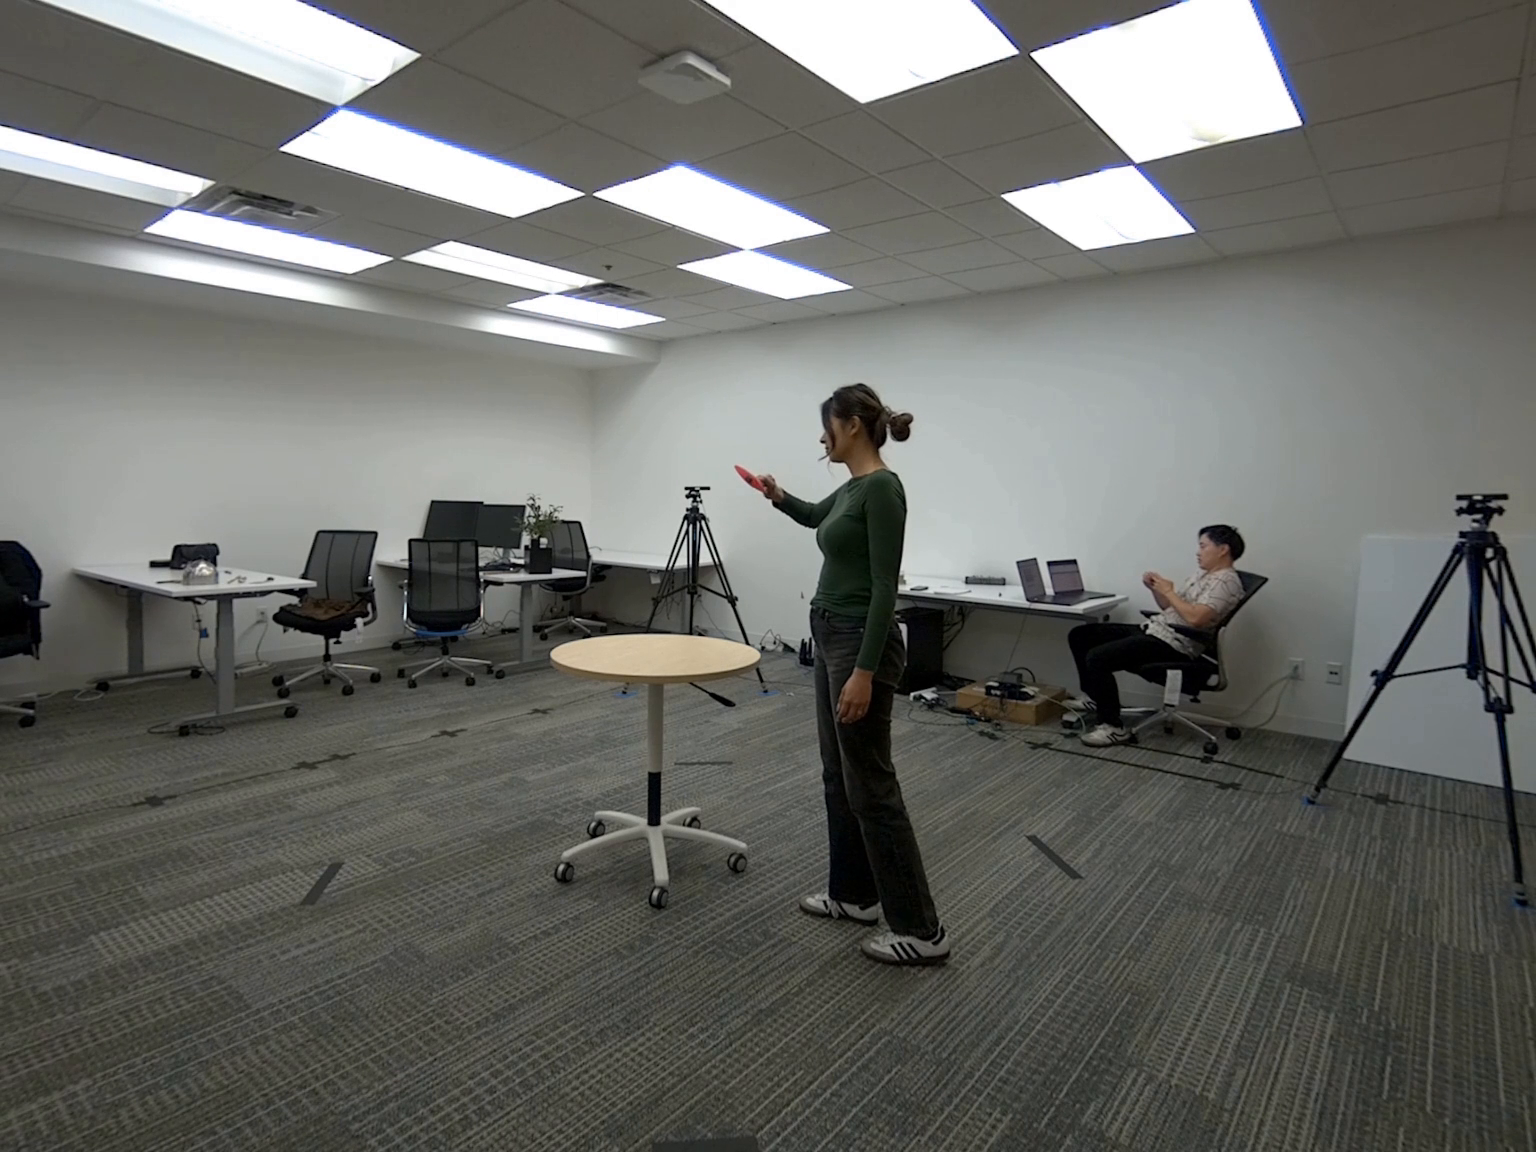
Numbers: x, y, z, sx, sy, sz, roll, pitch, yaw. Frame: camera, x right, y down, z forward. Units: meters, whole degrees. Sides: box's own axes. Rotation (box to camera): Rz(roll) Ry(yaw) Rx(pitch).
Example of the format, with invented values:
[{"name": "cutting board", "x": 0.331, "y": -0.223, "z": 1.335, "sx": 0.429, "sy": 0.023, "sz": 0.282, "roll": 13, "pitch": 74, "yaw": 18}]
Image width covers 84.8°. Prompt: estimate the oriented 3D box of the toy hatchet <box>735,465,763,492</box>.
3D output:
[{"name": "toy hatchet", "x": -0.071, "y": -0.319, "z": 2.754, "sx": 0.130, "sy": 0.029, "sz": 0.273, "roll": 40, "pitch": 4, "yaw": -8}]
